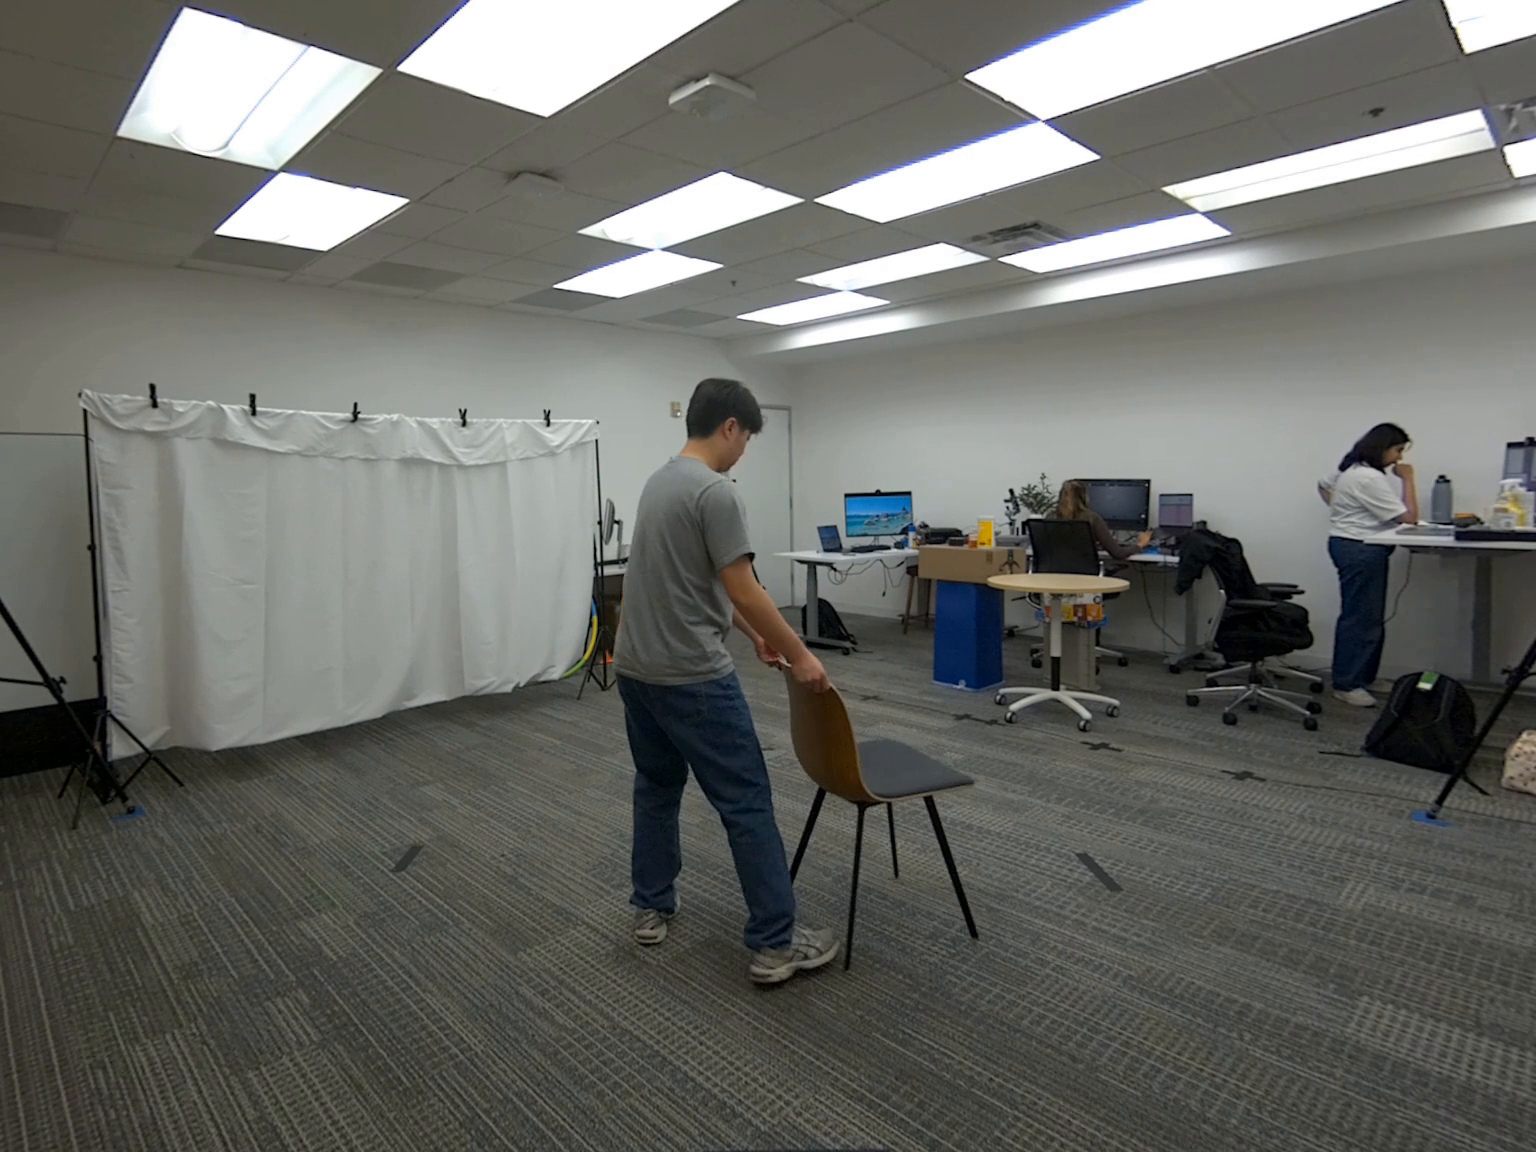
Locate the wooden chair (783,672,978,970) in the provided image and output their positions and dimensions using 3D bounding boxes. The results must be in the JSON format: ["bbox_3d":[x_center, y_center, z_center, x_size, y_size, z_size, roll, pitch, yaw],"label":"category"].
[{"bbox_3d":[0.325,0.655,2.679,0.514,0.873,0.489,-8,6,-22],"label":"wooden chair"}]
